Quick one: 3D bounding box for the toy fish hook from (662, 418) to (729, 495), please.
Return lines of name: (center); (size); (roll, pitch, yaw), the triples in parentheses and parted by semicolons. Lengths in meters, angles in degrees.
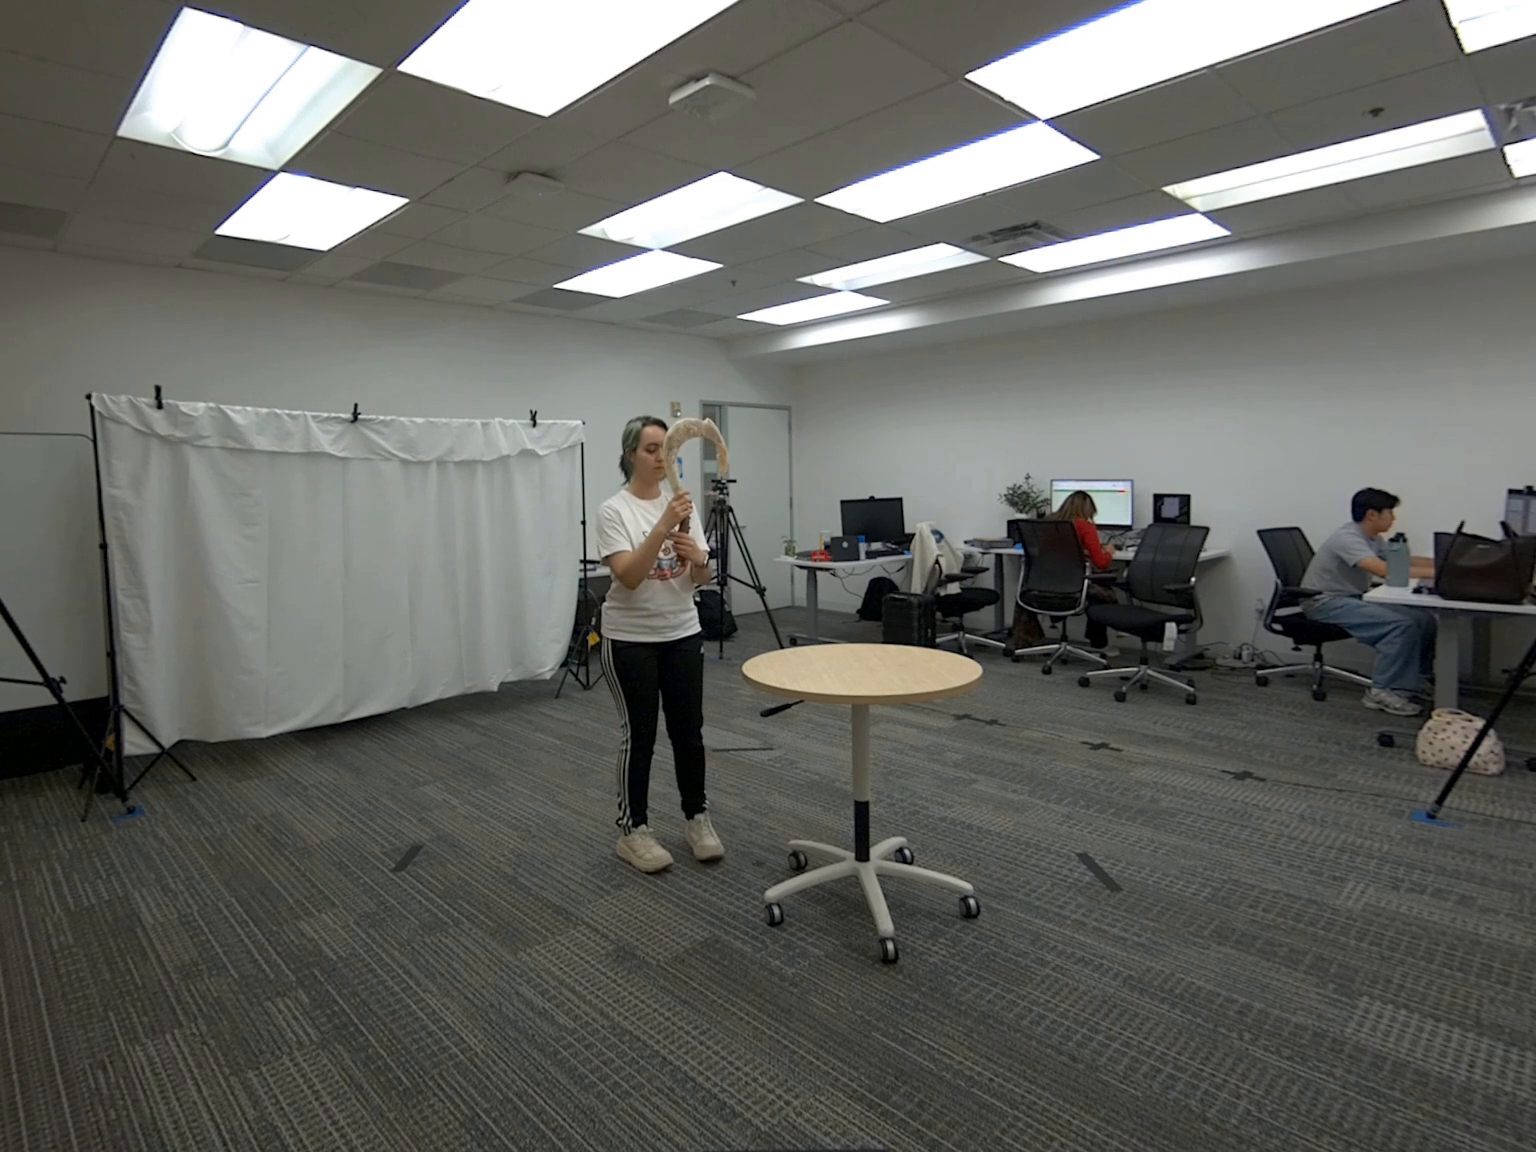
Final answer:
toy fish hook: (-0.250, -0.291, 2.938); (0.224, 0.502, 0.049); (2, 10, -4)
